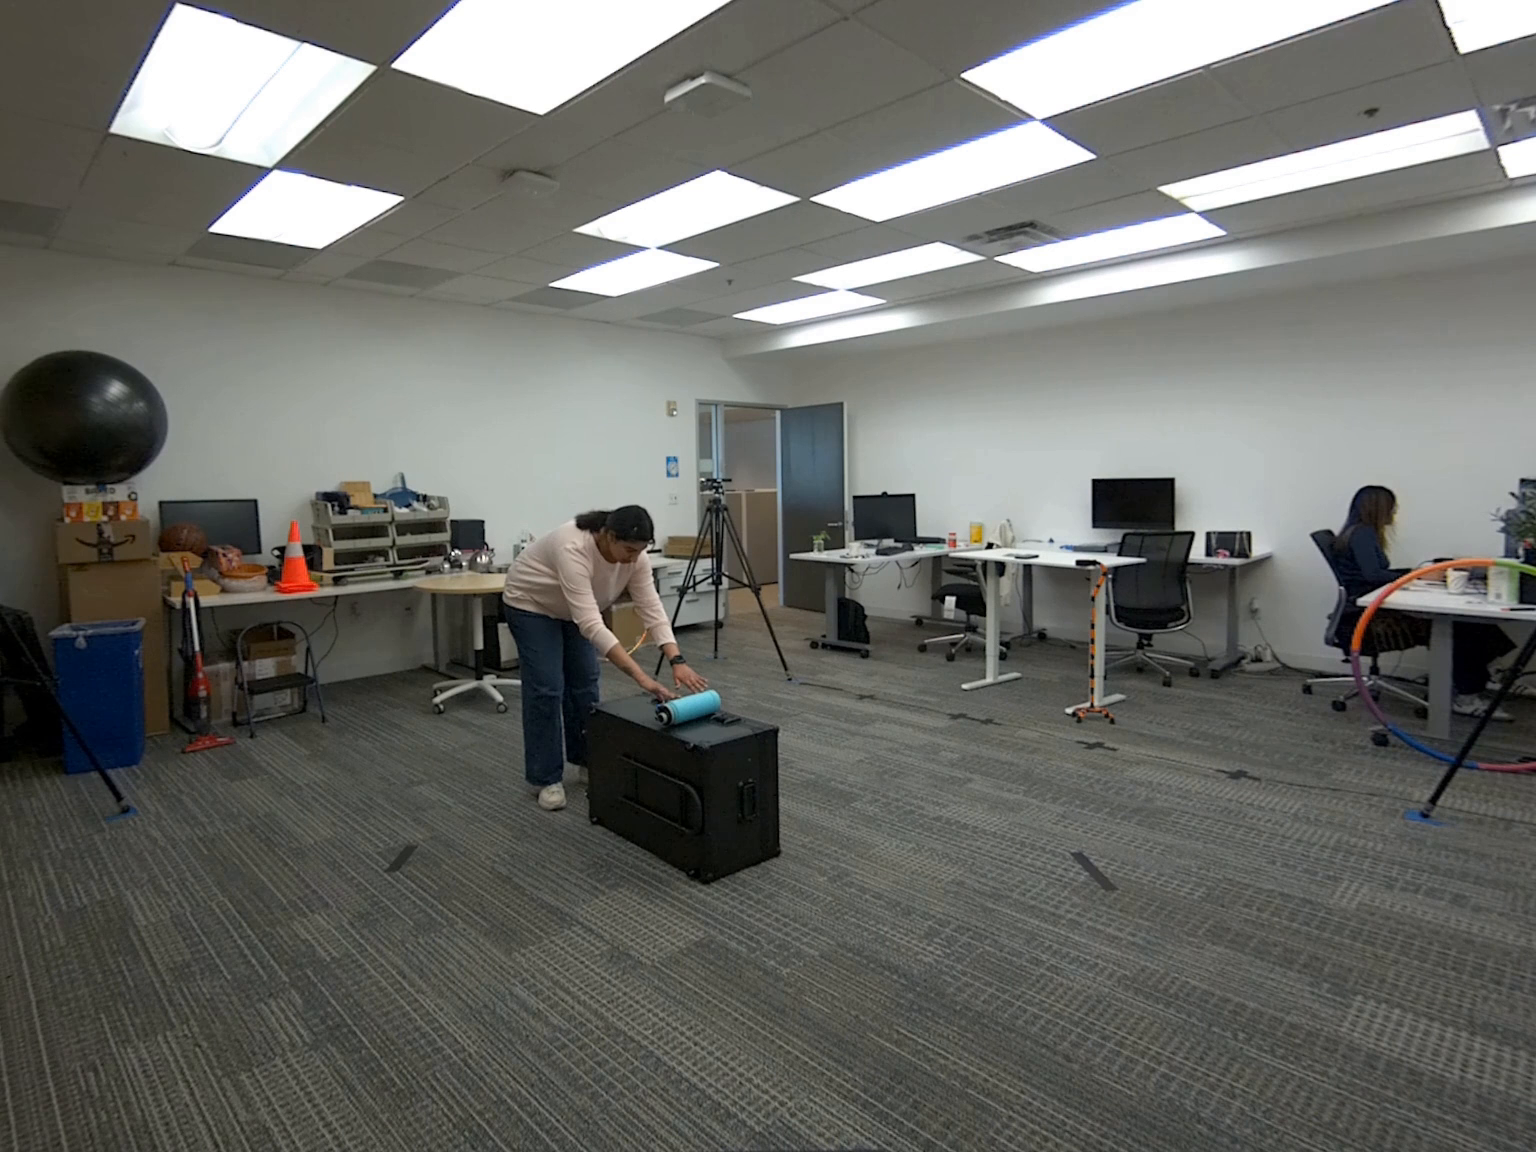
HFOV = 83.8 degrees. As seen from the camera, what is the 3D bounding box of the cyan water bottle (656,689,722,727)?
[{"bbox_3d":[-0.307,0.500,3.251,0.276,0.092,0.095,-9,9,-44],"label":"cyan water bottle"}]
